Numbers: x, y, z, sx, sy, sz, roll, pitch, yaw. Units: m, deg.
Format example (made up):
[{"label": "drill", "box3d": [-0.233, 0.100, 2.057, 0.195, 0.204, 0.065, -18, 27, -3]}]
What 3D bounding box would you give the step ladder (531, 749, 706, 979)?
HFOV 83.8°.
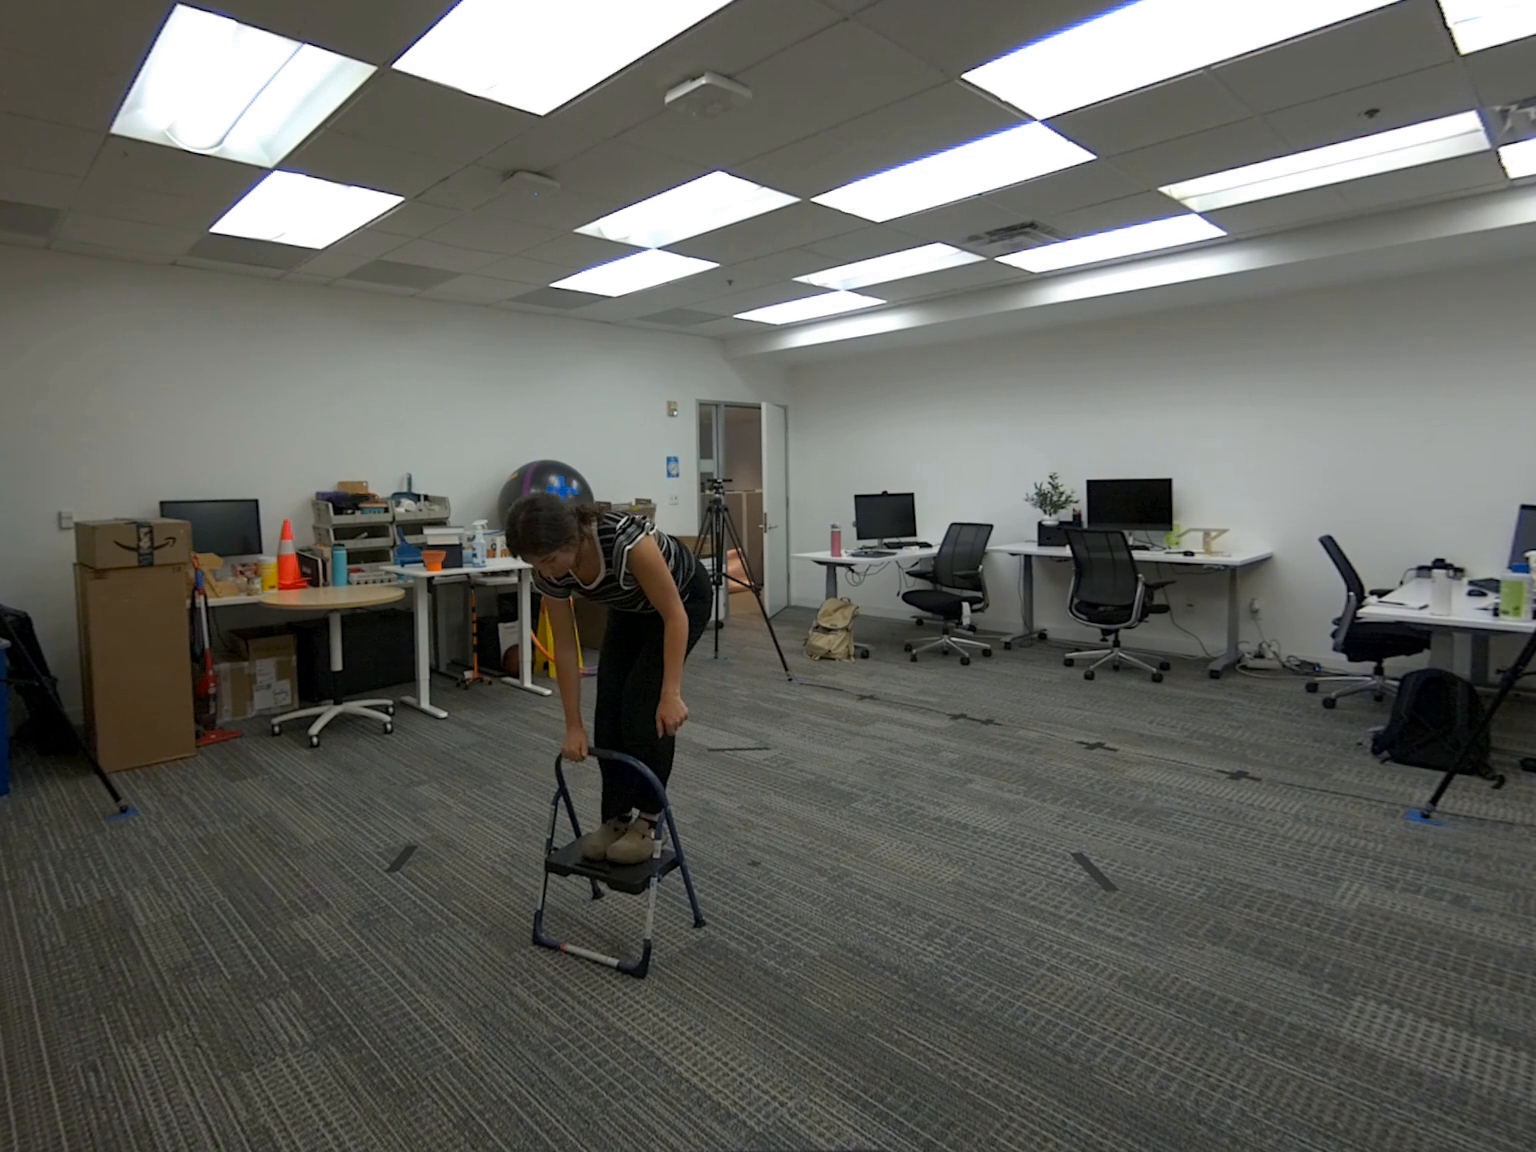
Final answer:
[{"label": "step ladder", "box3d": [-0.467, 0.809, 2.625, 0.441, 0.603, 0.342, 1, 5, 27]}]
